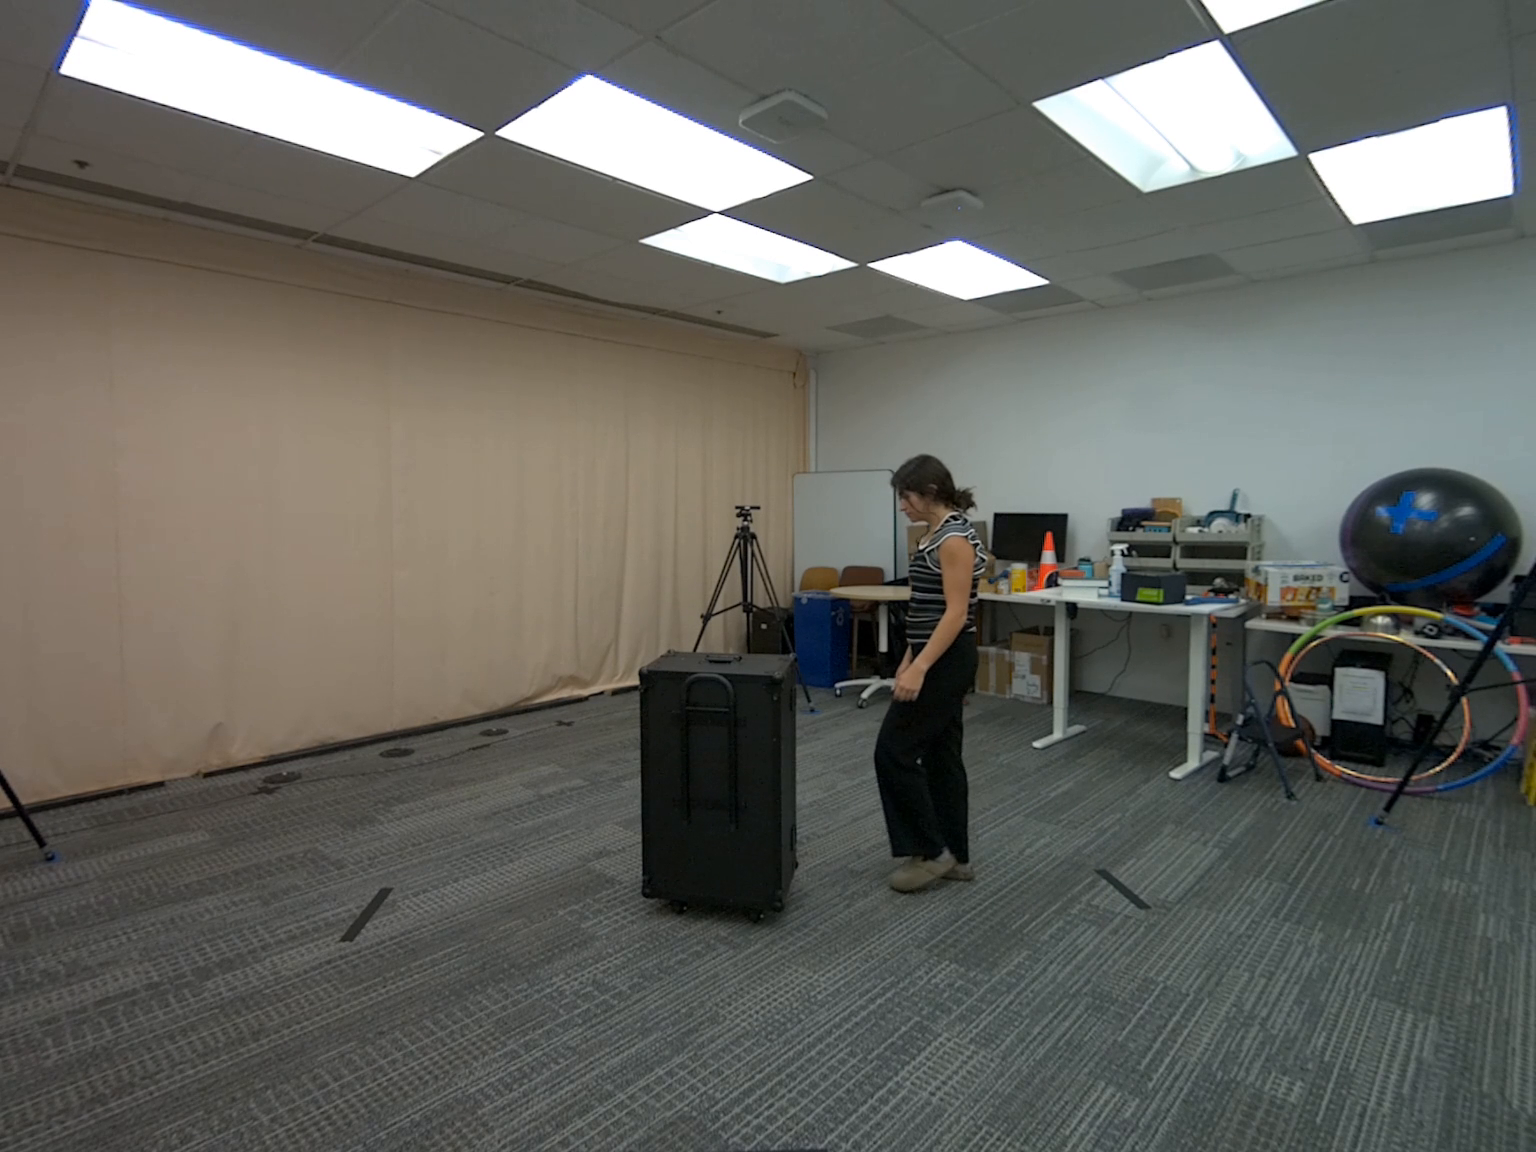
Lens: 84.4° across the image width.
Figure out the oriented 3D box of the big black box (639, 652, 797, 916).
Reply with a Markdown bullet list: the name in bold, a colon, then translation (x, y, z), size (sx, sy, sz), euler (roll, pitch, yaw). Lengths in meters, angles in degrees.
- **big black box**: translation (-0.159, 0.726, 2.928), size (0.528, 0.859, 0.392), euler (0, 5, 11)
